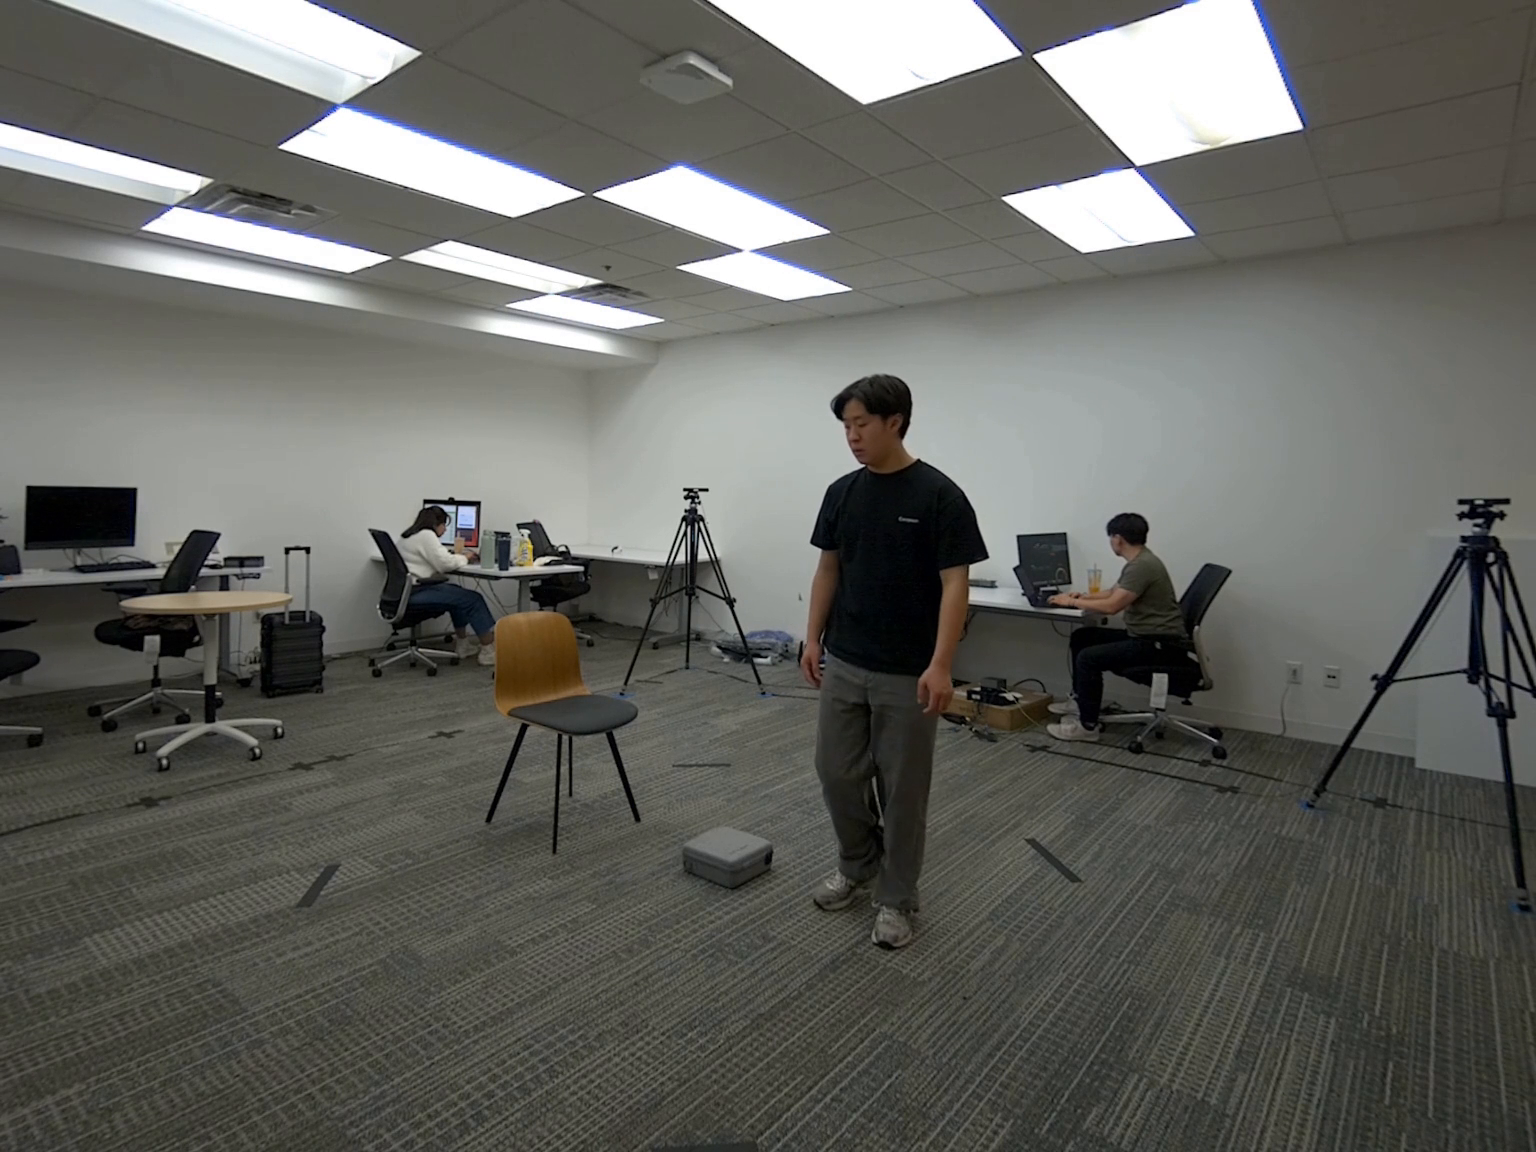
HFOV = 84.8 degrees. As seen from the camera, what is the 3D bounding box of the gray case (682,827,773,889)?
[{"bbox_3d":[-0.167,1.015,3.109,0.297,0.103,0.255,4,6,39],"label":"gray case"}]
